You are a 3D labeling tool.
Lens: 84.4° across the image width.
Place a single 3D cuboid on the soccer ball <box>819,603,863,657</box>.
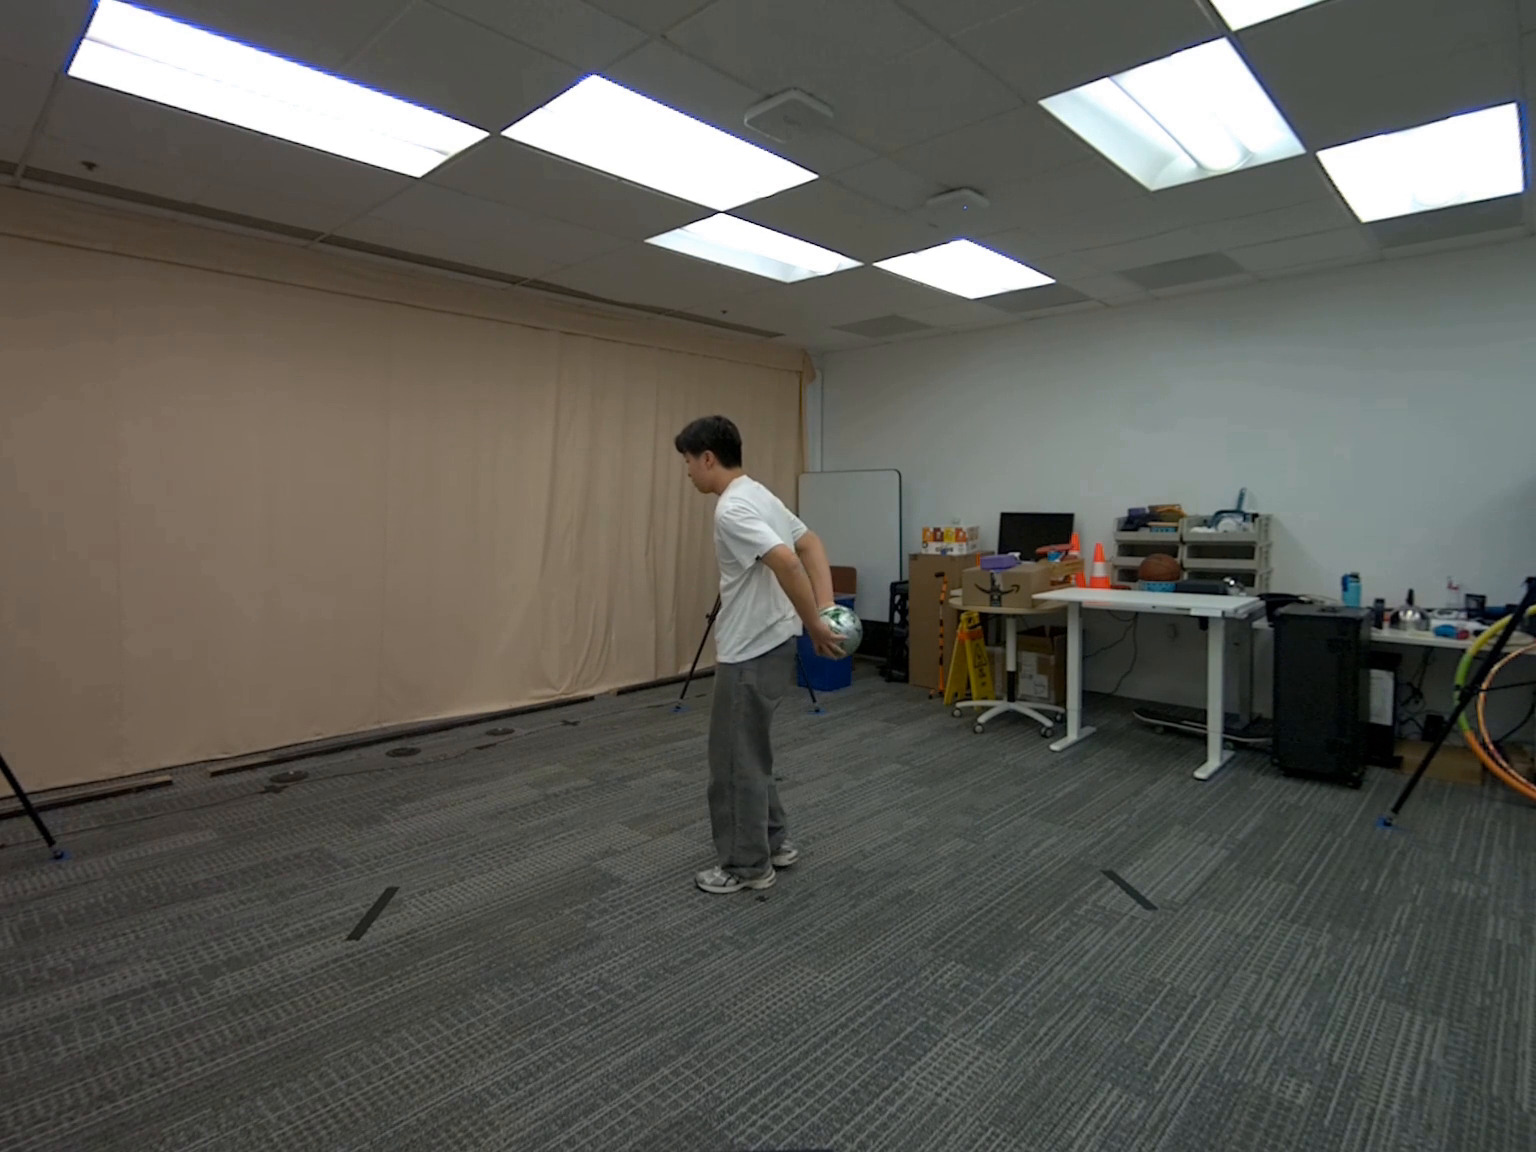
[{"bbox_3d":[0.242,0.209,3.015,0.187,0.187,0.188,0,4,-2],"label":"soccer ball"}]
